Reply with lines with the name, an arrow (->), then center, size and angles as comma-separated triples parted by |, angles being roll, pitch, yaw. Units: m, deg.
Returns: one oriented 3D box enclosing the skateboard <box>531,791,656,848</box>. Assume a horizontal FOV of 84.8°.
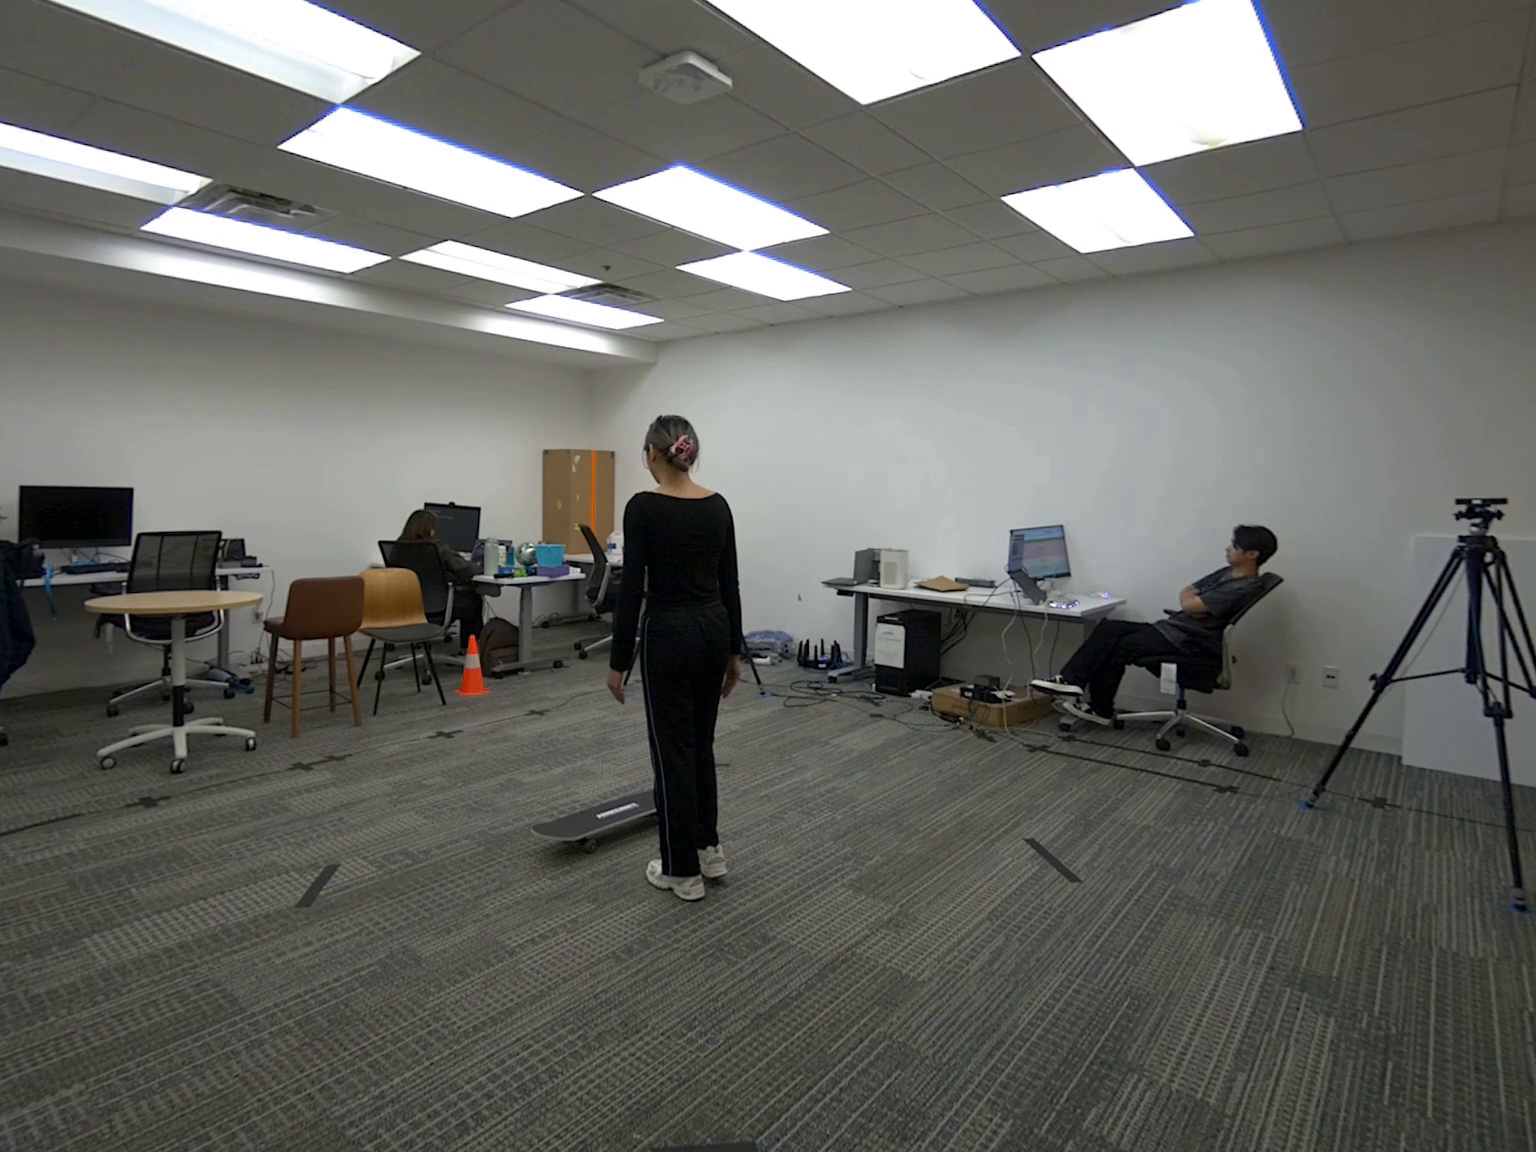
skateboard -> -0.622, 0.983, 3.446 | 0.200, 0.110, 0.762 | 4, 7, 42
